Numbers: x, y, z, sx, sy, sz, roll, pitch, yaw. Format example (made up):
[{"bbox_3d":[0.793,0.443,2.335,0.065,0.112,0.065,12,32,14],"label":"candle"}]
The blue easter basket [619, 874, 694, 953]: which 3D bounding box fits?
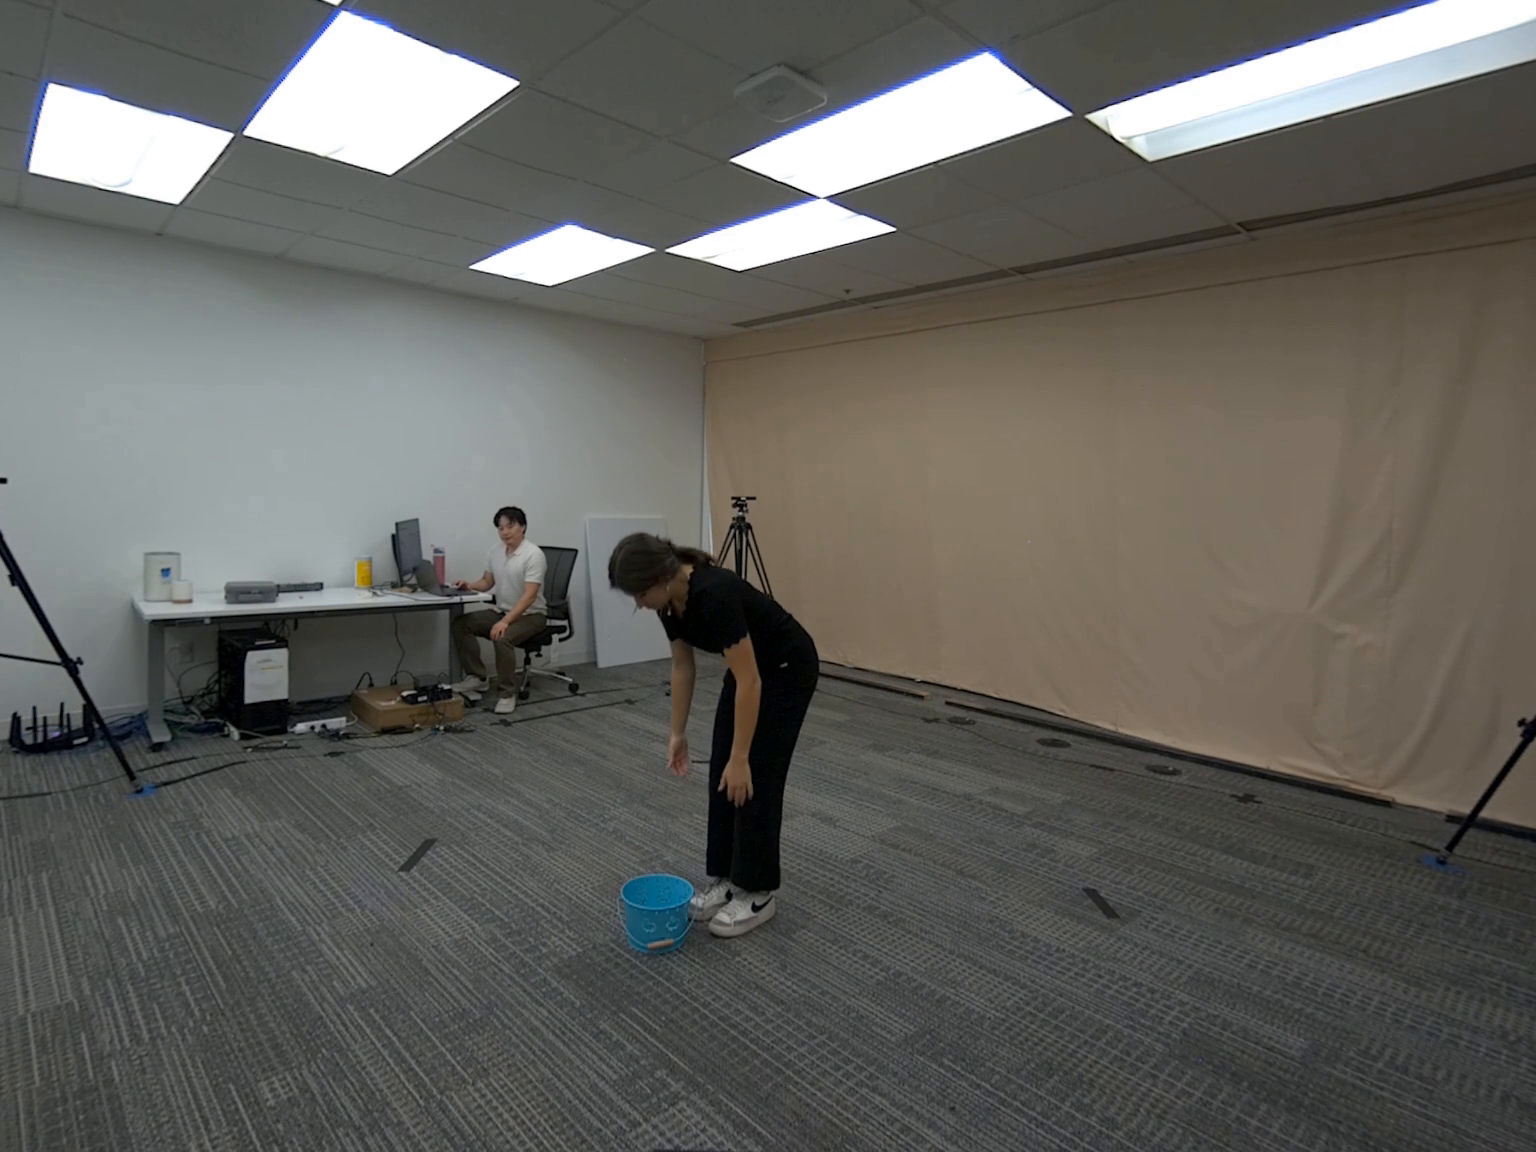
[{"bbox_3d":[-0.363,1.065,2.646,0.243,0.155,0.244,2,4,-1],"label":"blue easter basket"}]
